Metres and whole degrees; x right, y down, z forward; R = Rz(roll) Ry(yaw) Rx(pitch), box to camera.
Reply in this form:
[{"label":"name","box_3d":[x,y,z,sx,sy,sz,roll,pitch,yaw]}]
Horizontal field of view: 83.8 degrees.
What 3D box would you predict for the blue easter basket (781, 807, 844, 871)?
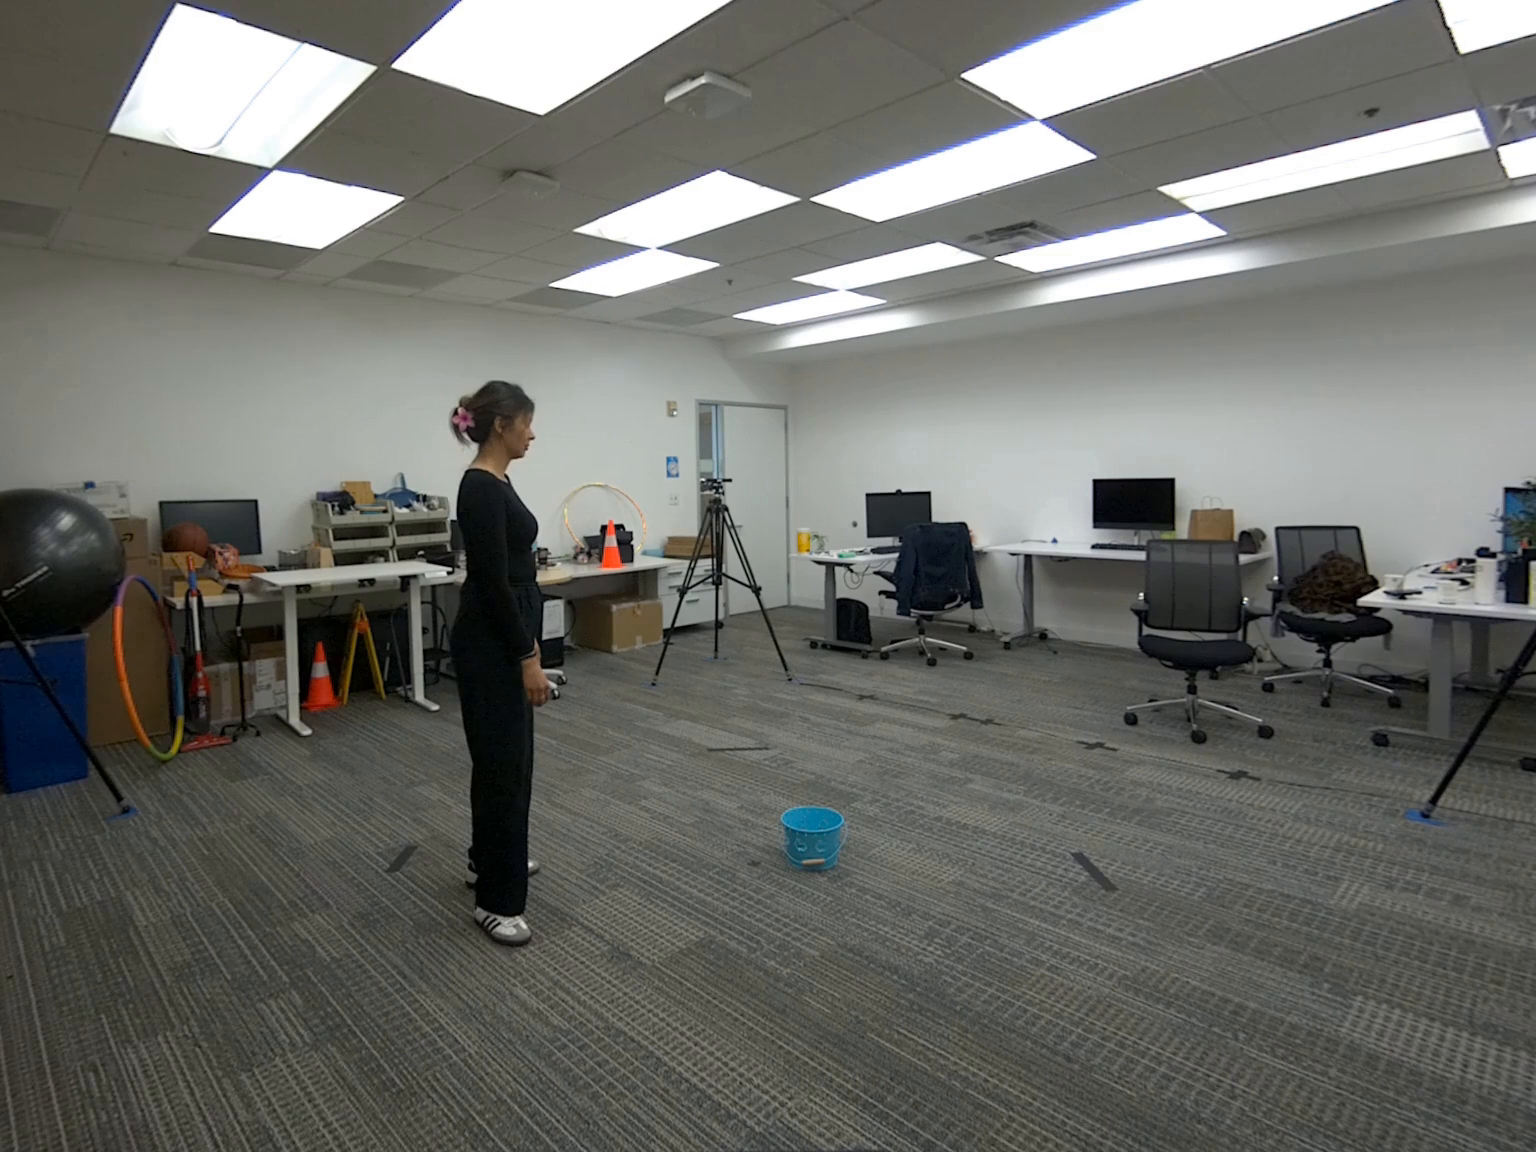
[{"label":"blue easter basket","box_3d":[0.159,0.959,3.128,0.243,0.155,0.245,-1,5,-2]}]
